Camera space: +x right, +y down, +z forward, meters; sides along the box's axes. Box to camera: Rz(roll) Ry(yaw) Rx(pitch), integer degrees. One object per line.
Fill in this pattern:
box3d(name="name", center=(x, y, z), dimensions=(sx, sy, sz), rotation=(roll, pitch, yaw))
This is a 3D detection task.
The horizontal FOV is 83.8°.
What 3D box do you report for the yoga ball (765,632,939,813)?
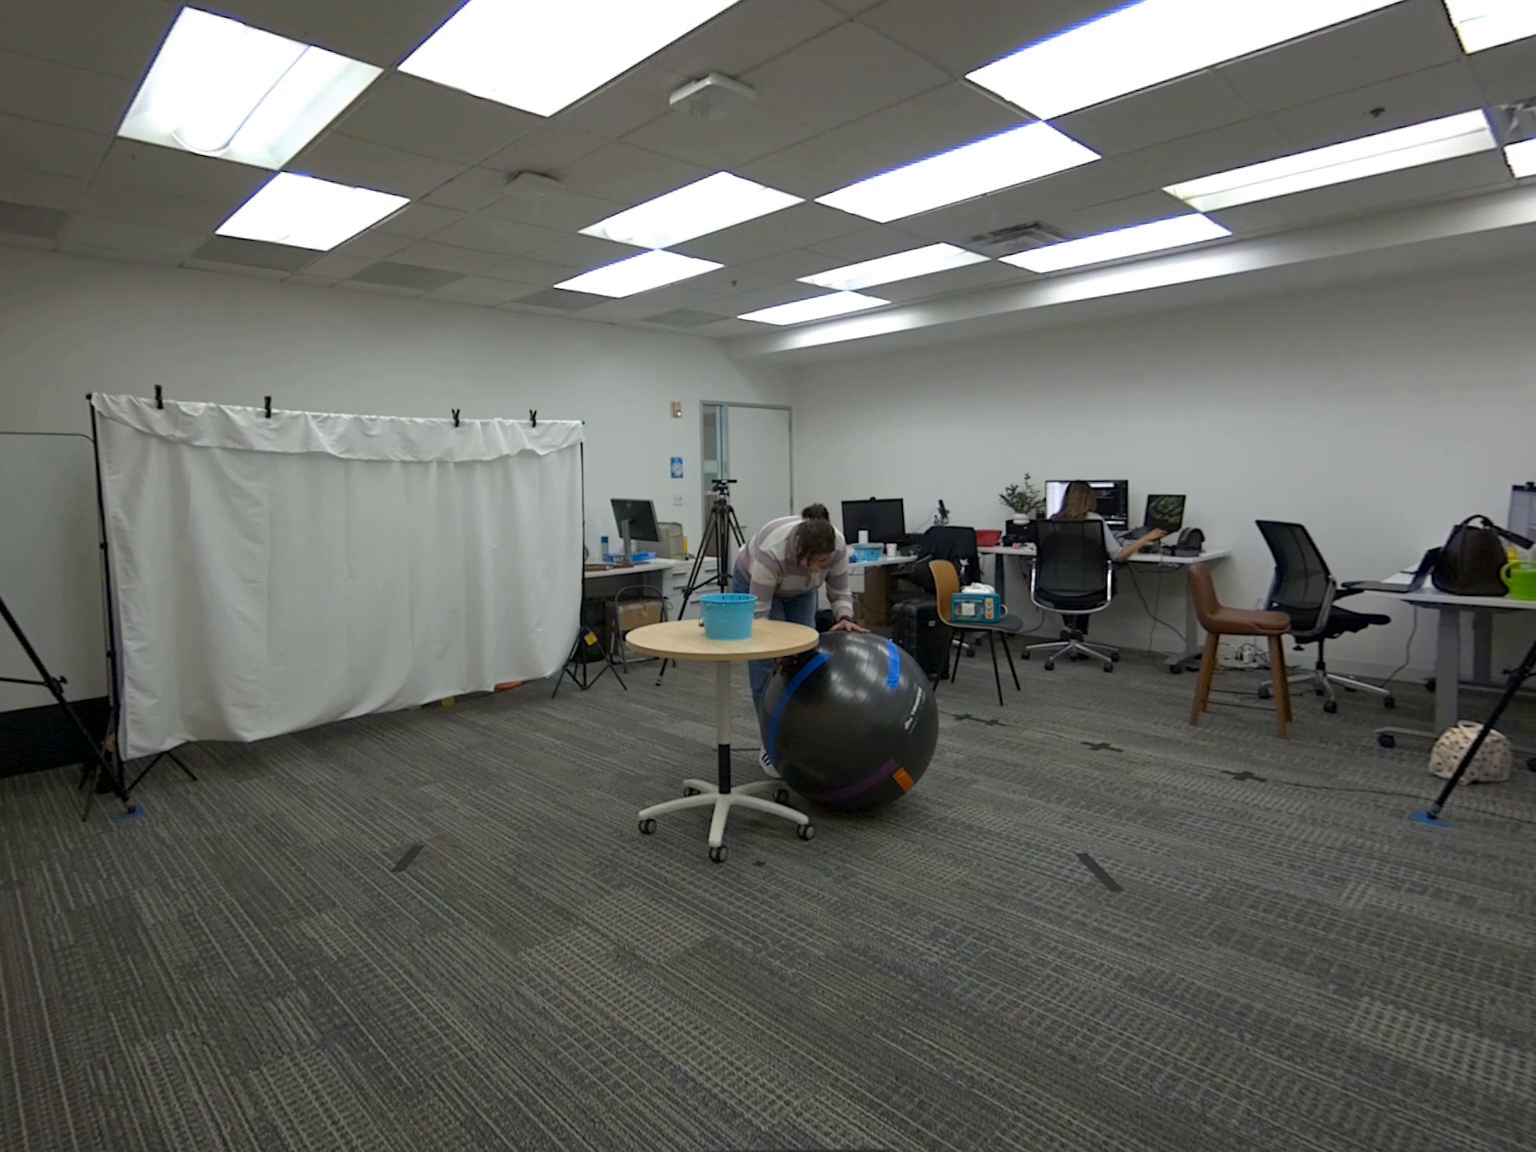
box3d(name="yoga ball", center=(0.356, 0.616, 3.651), dimensions=(0.757, 0.755, 0.762), rotation=(-1, 5, -2))
